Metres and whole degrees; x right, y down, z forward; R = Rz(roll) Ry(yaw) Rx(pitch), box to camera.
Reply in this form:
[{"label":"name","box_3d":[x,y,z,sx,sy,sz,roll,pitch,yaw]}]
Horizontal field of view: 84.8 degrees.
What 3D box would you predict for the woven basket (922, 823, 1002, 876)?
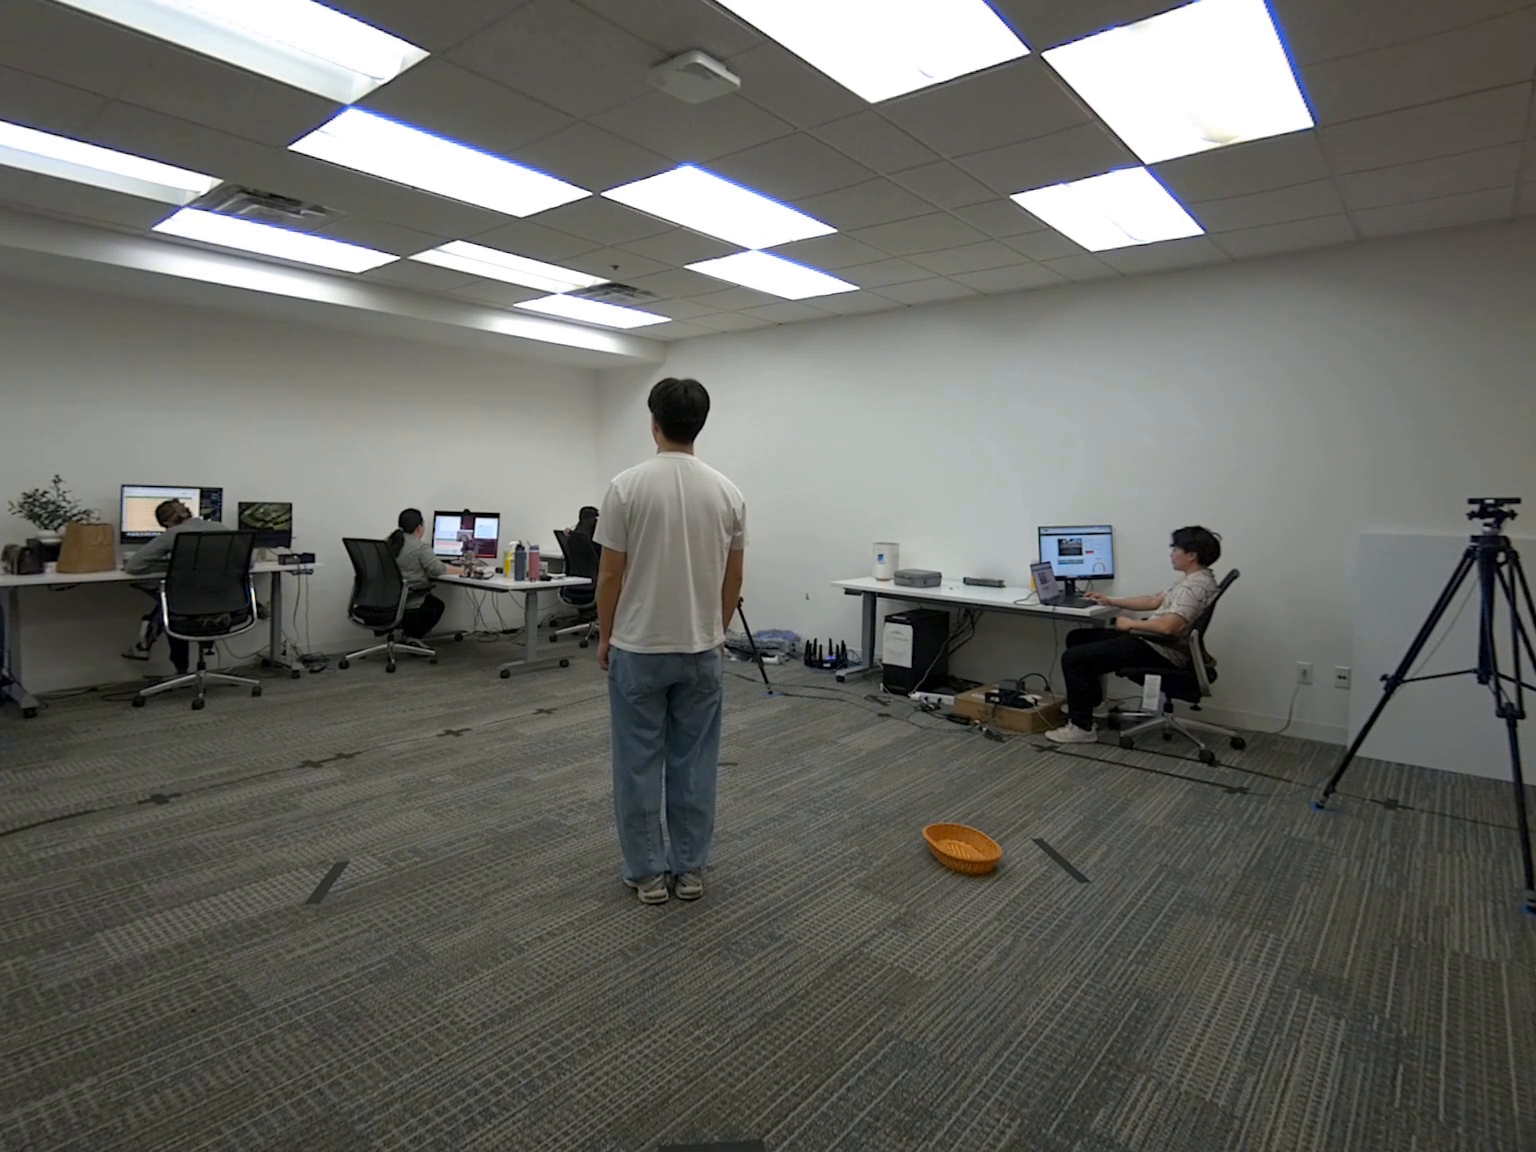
[{"label":"woven basket","box_3d":[0.726,1.034,3.245,0.250,0.073,0.356,0,6,-11]}]
